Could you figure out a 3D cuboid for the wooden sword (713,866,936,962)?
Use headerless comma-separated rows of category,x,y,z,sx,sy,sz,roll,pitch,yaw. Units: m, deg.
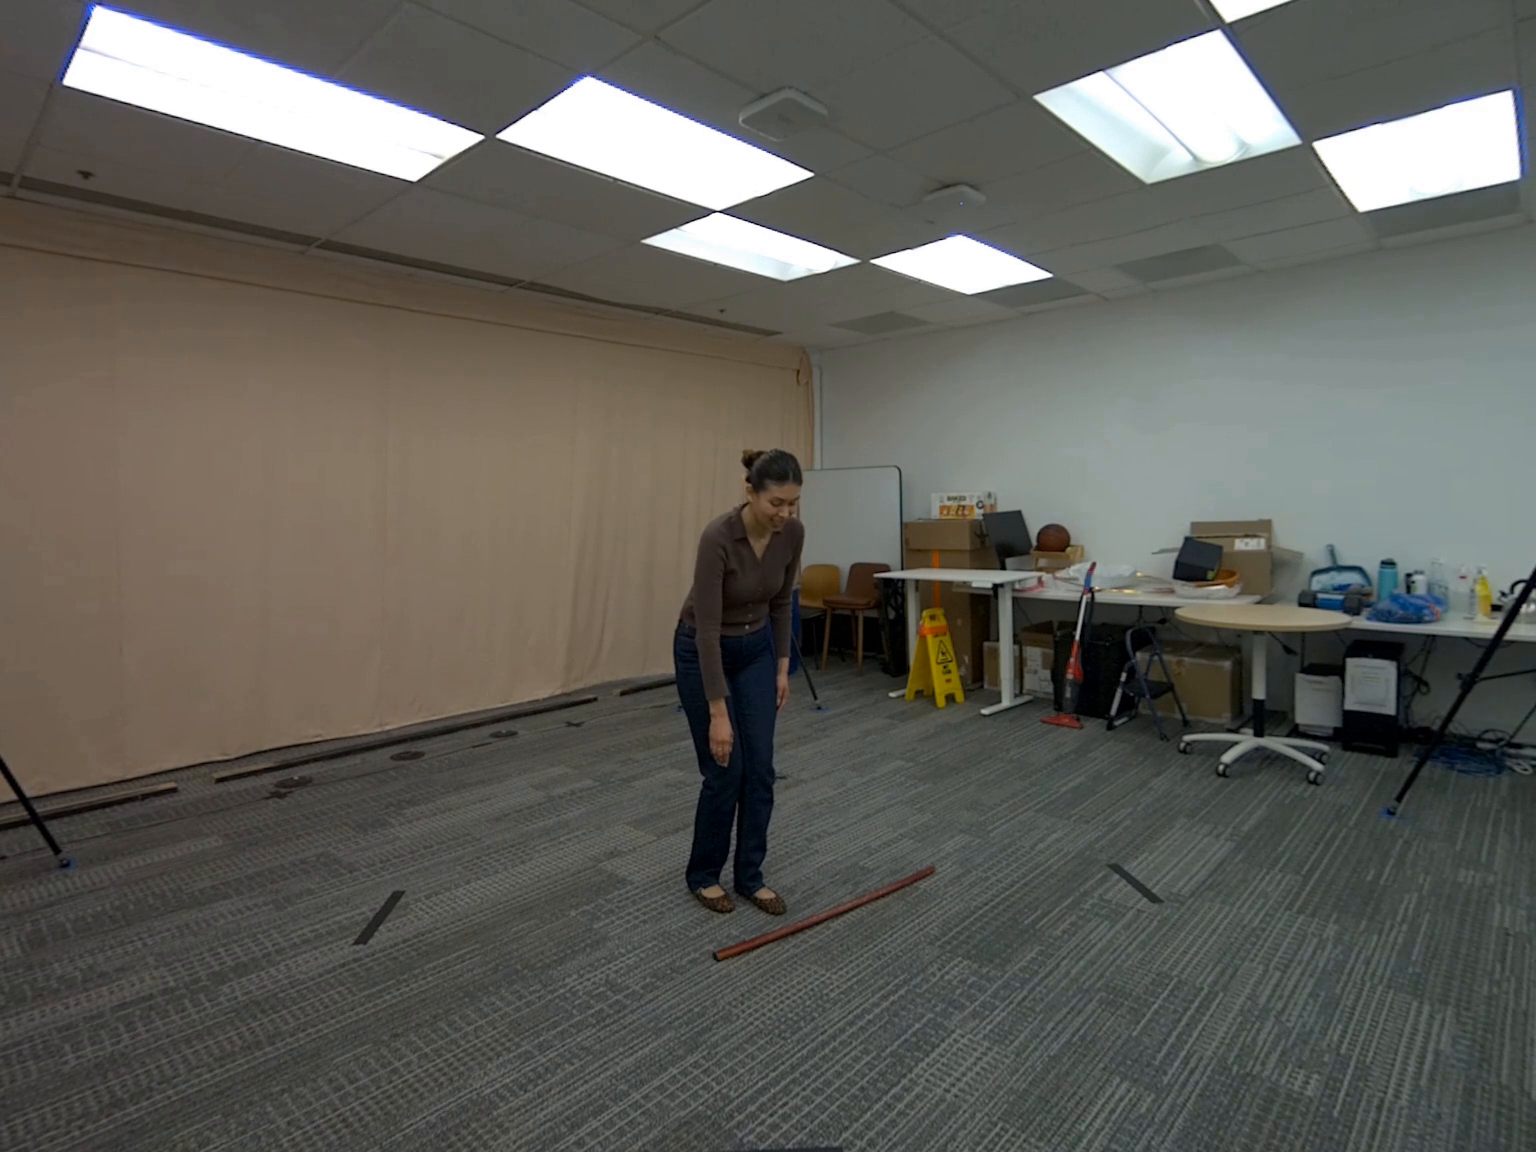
wooden sword,0.237,1.122,2.872,0.995,0.053,0.024,-4,-41,-37
